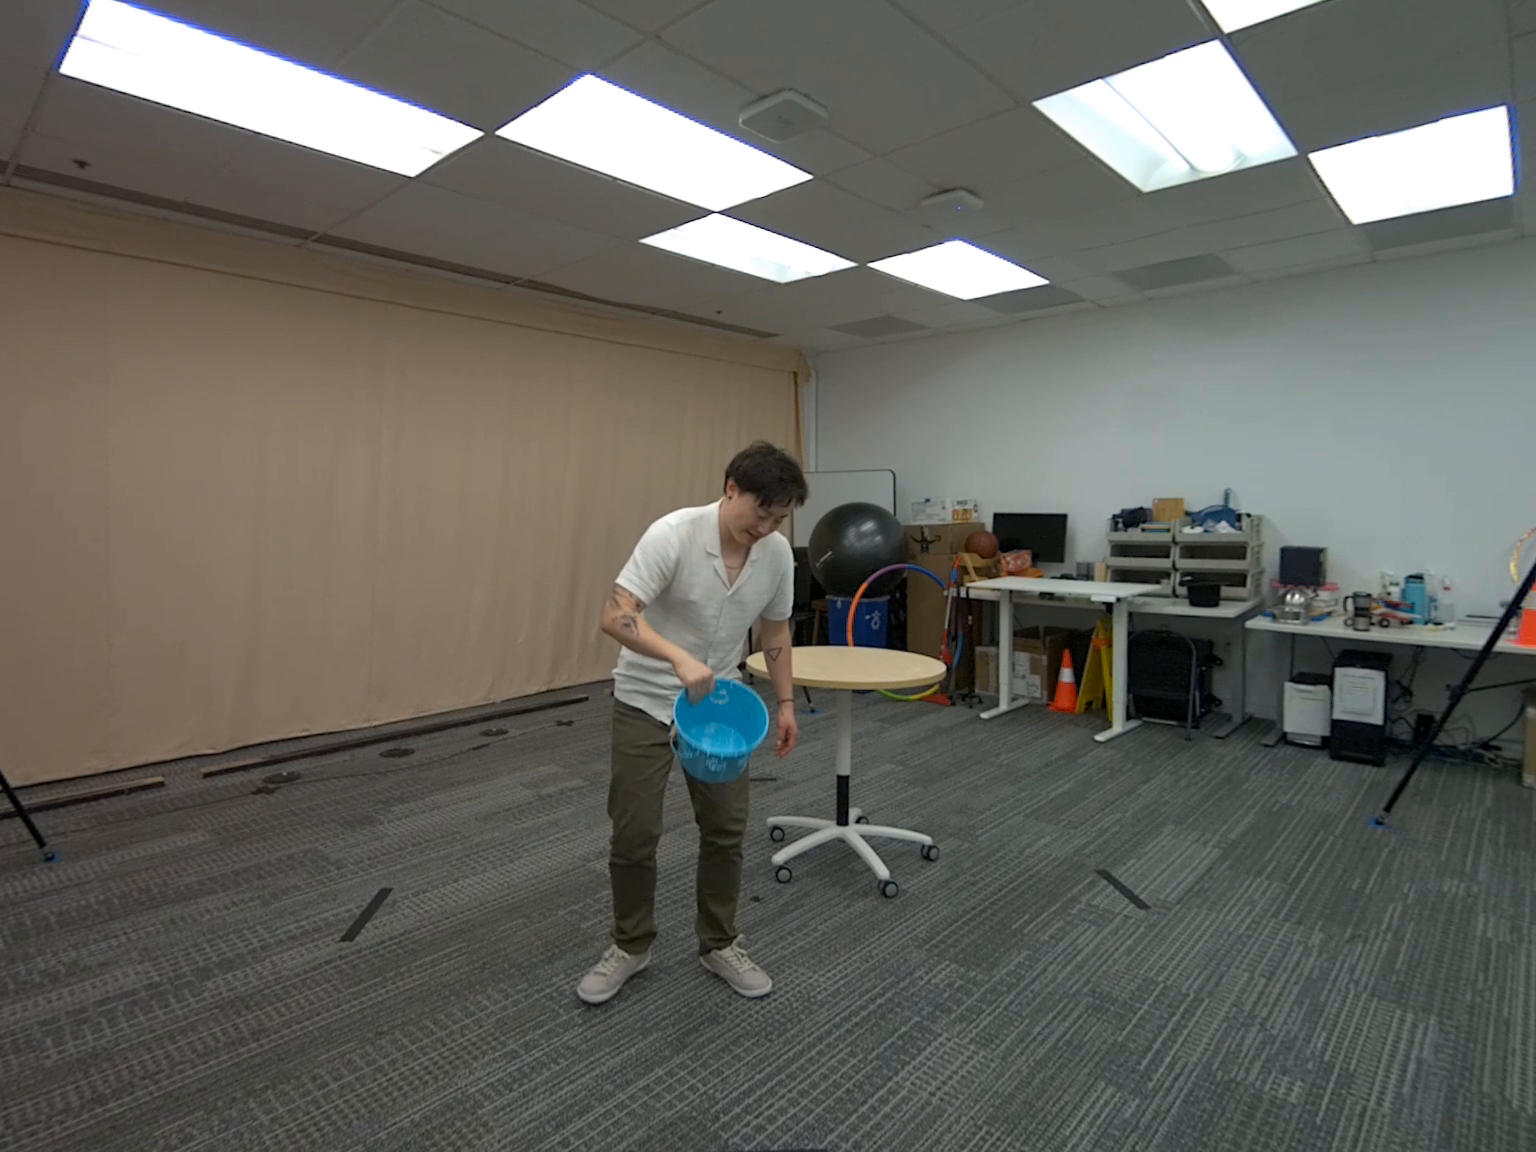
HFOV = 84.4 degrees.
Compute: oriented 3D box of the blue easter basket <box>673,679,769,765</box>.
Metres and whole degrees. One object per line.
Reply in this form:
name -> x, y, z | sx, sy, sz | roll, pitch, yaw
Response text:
blue easter basket -> -0.123, 0.310, 2.105 | 0.244, 0.155, 0.245 | -9, 9, 0
